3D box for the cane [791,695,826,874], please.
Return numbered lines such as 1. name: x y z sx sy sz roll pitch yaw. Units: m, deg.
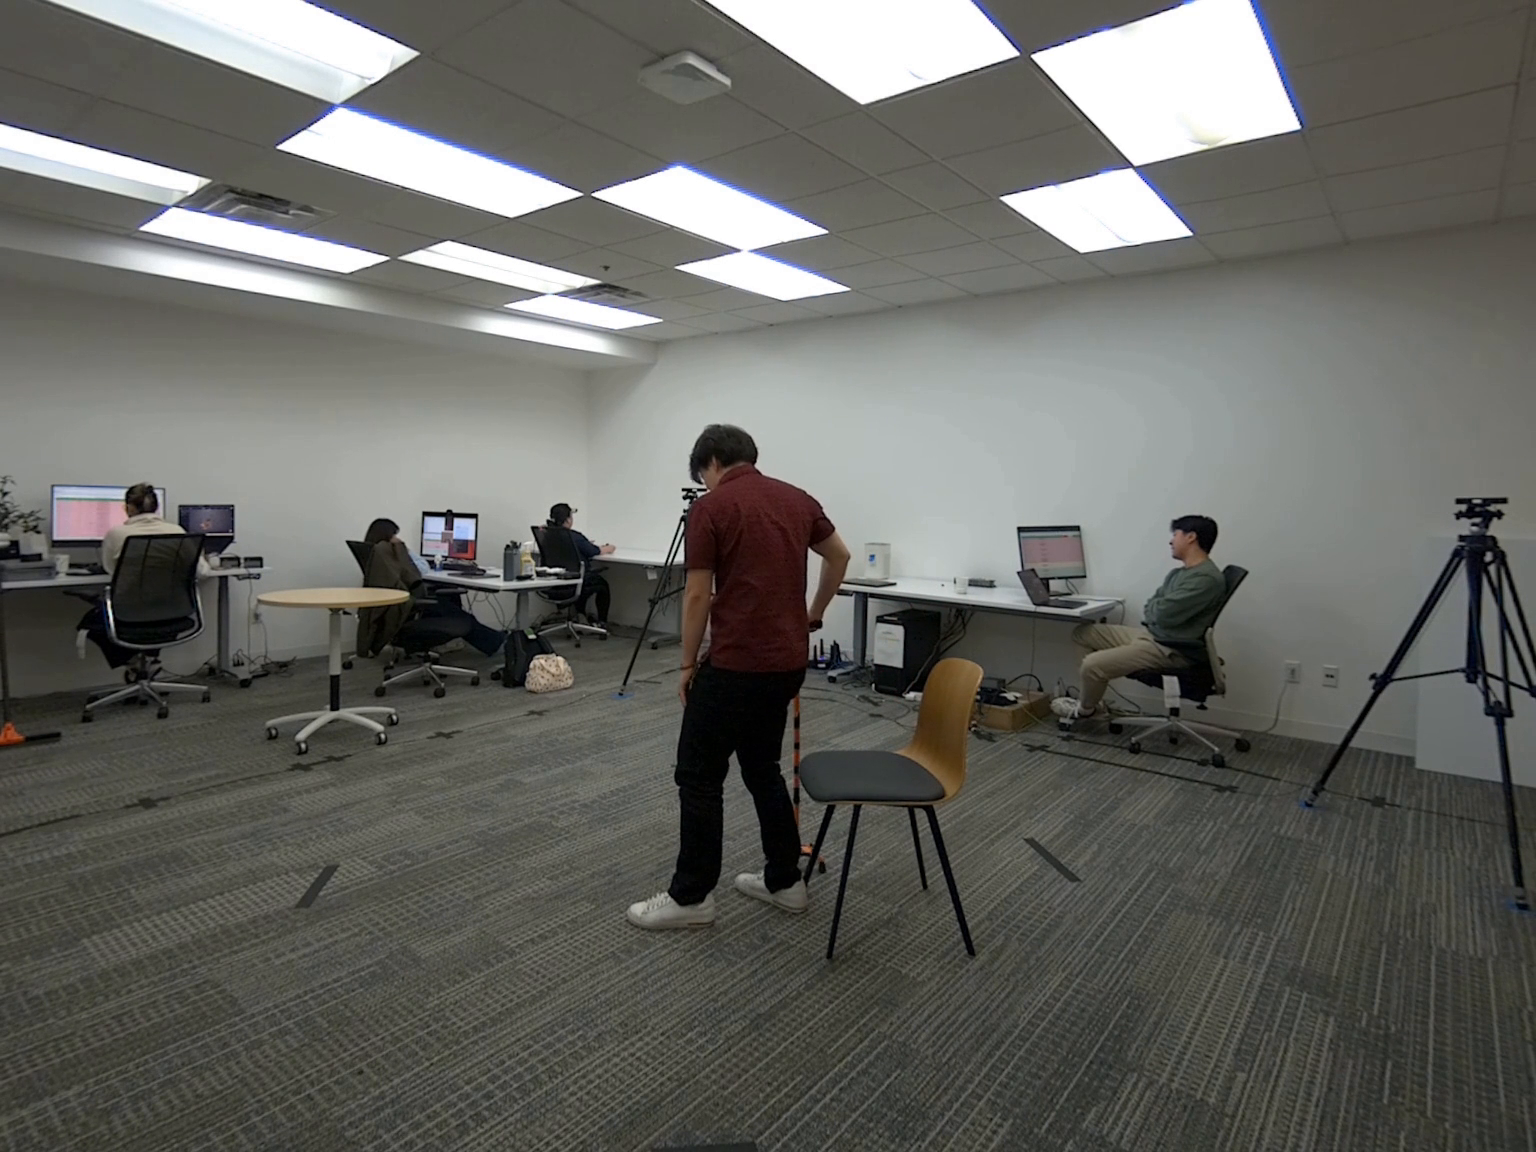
1. cane: 0.076 0.614 3.145 0.204 0.907 0.153 -1 1 -10
